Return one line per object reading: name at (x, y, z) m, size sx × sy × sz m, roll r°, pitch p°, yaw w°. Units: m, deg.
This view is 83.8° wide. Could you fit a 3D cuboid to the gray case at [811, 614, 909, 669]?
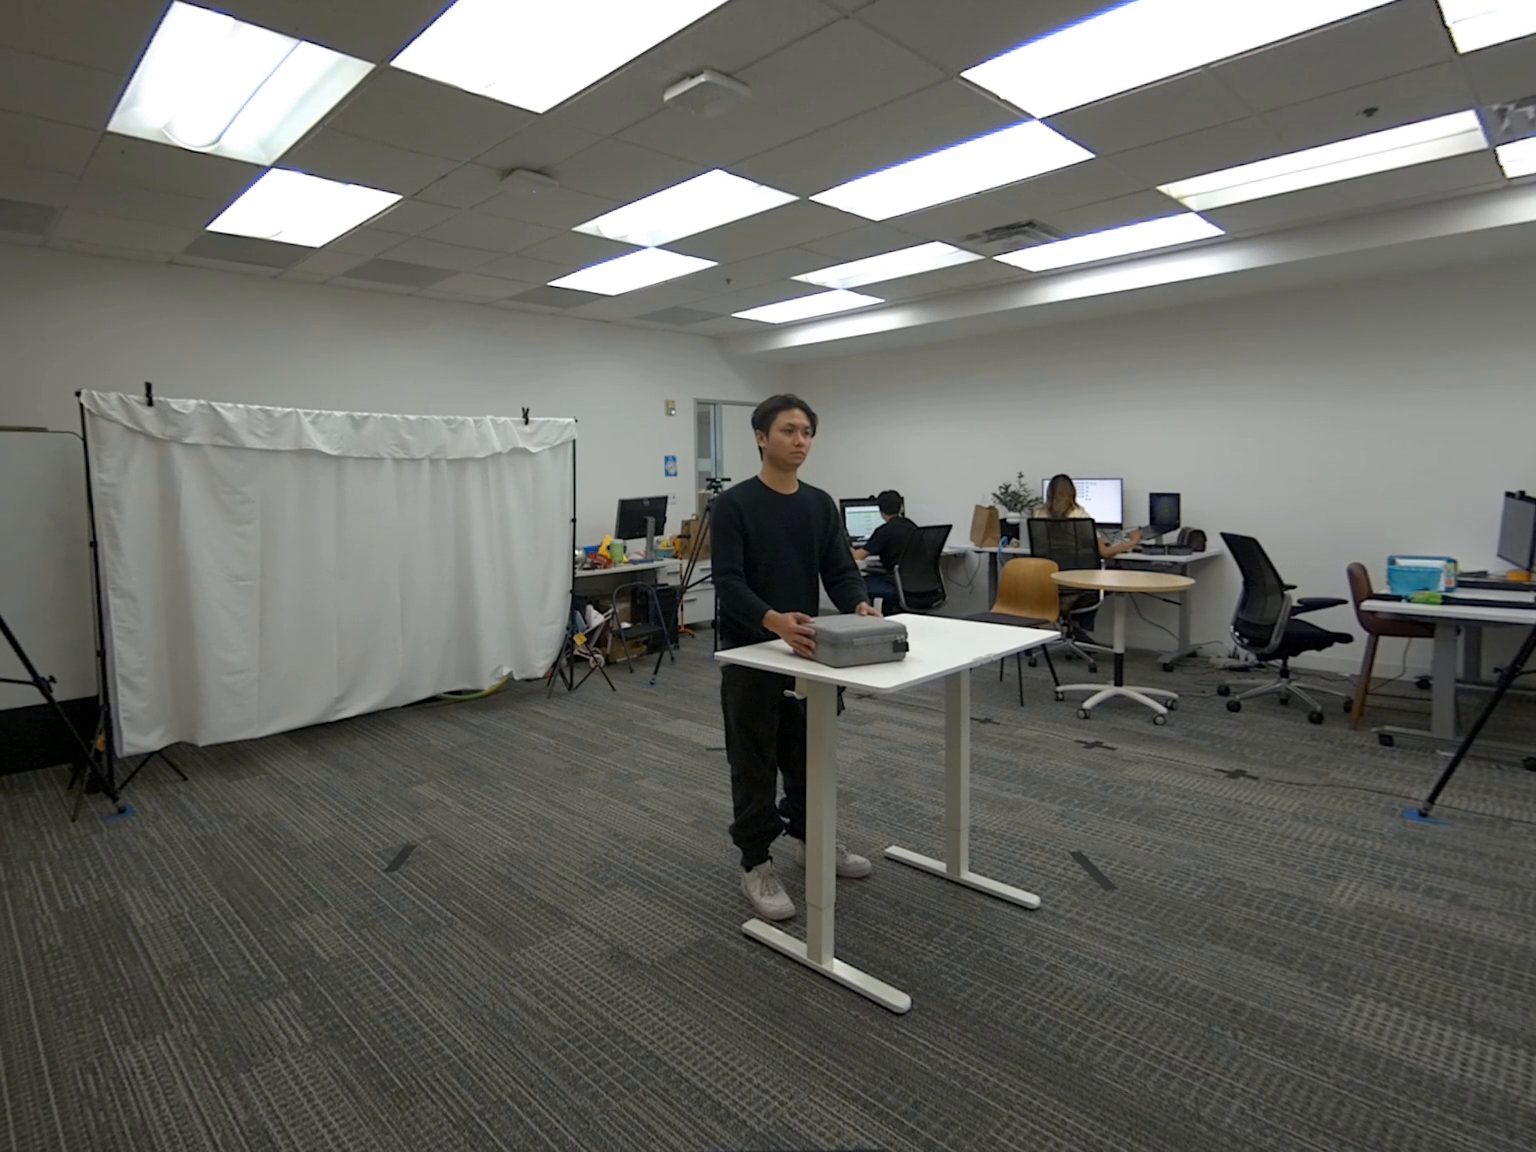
gray case at (0.234, 0.181, 2.431) m, size 0.251 × 0.104 × 0.268 m, roll -4°, pitch 7°, yaw -28°
